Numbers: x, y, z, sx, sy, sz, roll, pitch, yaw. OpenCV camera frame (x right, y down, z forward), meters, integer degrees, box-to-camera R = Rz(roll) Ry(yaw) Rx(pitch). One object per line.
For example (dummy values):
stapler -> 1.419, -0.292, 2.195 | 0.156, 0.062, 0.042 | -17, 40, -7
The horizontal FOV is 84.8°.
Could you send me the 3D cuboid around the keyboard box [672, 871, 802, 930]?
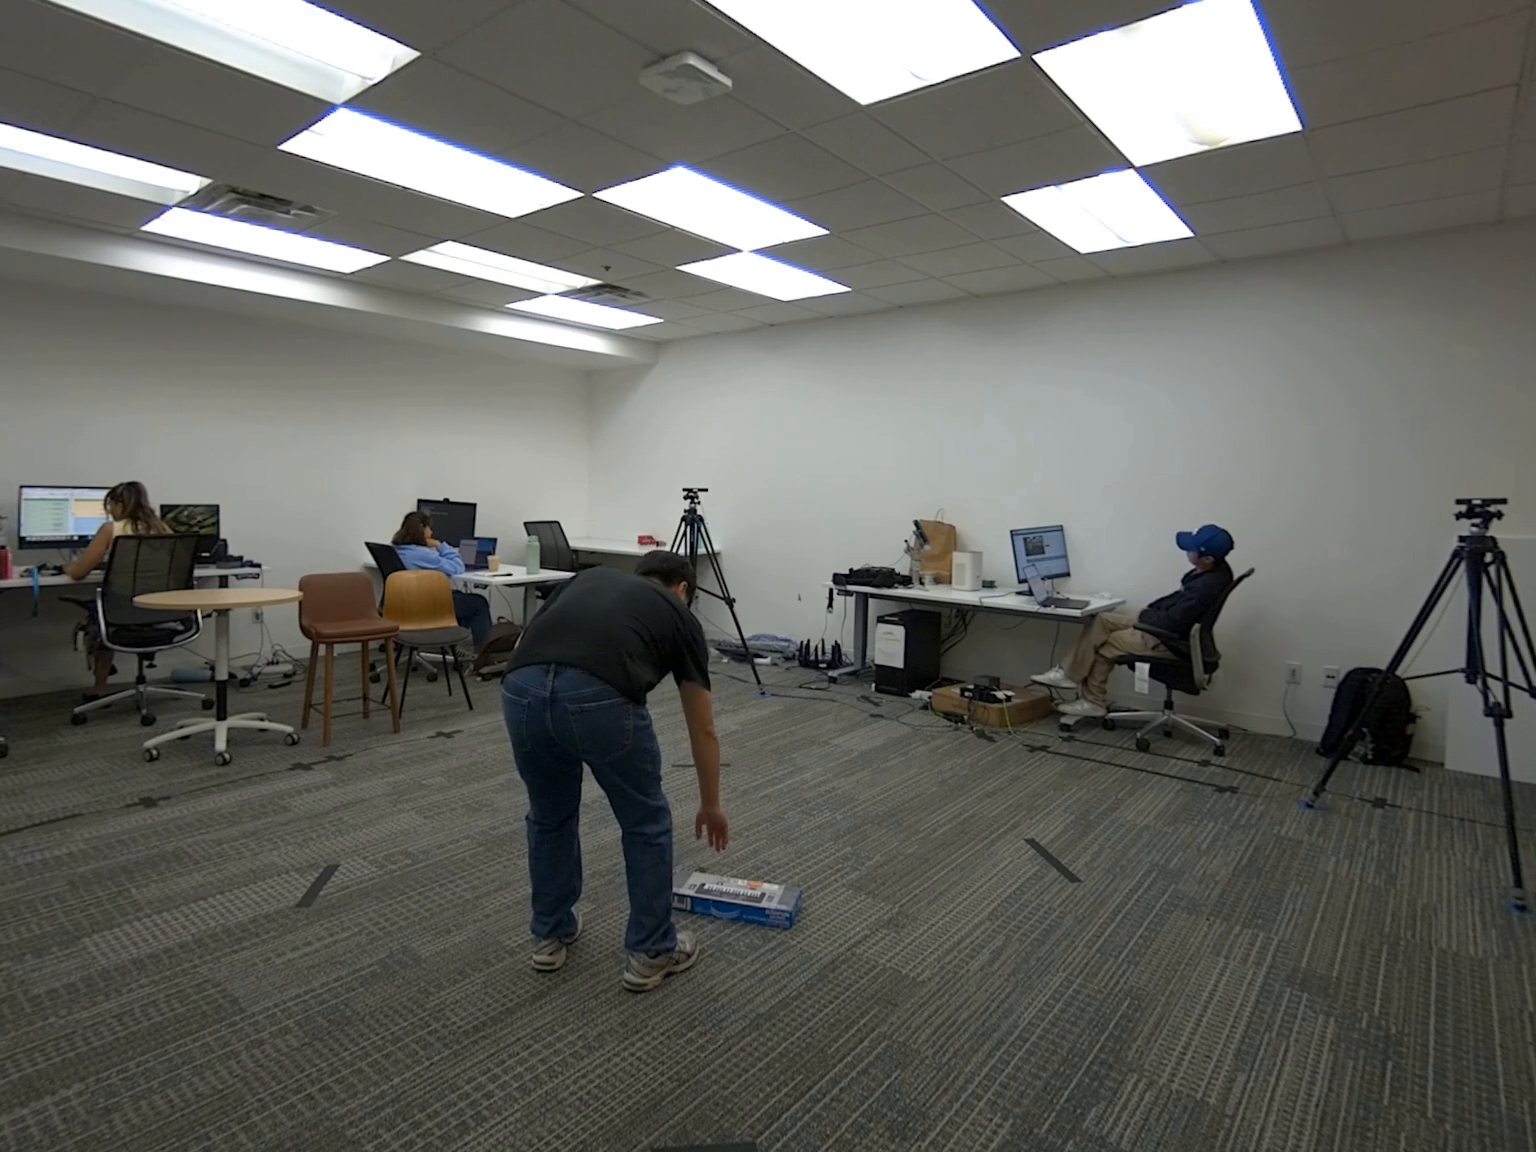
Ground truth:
keyboard box -> -0.125, 1.067, 2.831 | 0.445, 0.059, 0.173 | 3, 5, 16
